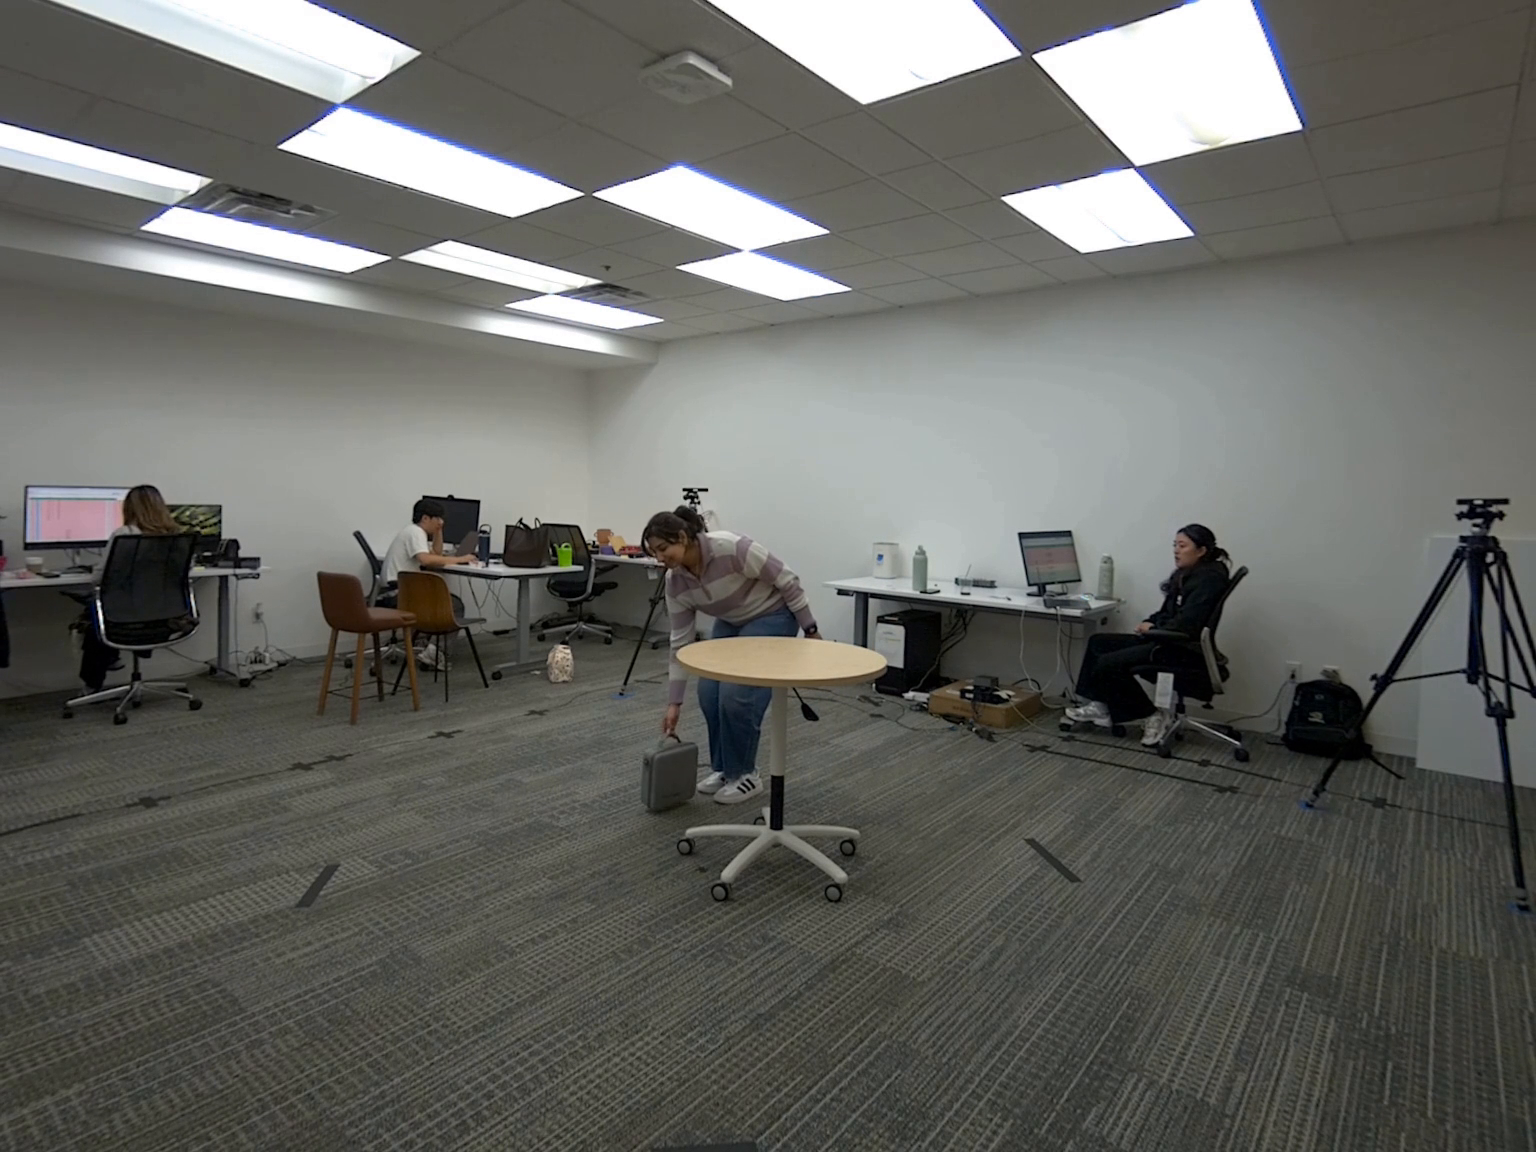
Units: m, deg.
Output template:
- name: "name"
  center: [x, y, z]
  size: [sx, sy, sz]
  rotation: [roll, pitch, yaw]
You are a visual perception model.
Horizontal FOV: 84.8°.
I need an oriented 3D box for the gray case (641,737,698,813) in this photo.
- name: "gray case"
  center: [-0.442, 0.841, 3.698]
  size: [0.249, 0.259, 0.108]
  rotation: [-2, 9, -43]
